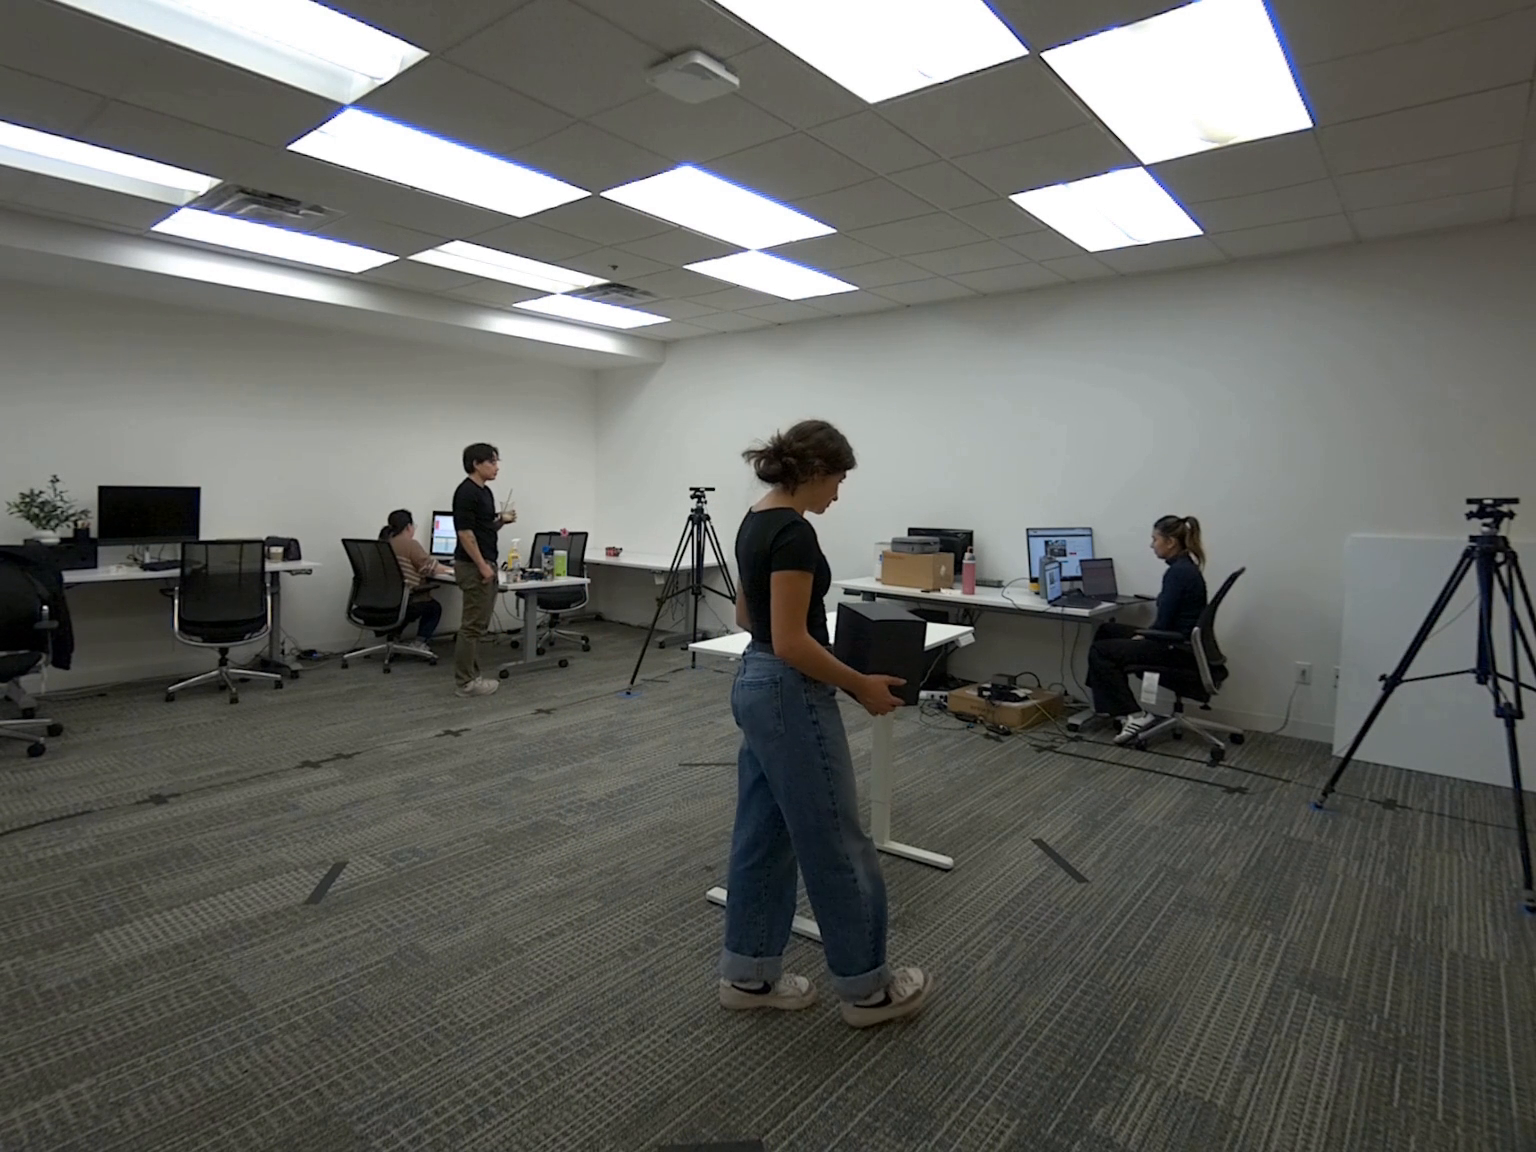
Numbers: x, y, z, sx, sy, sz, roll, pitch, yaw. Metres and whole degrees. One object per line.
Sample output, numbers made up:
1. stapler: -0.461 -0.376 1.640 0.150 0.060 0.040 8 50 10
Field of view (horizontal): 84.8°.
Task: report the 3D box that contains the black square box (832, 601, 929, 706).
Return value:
1. black square box: 0.276 0.200 2.246 0.153 0.226 0.222 3 9 -16
